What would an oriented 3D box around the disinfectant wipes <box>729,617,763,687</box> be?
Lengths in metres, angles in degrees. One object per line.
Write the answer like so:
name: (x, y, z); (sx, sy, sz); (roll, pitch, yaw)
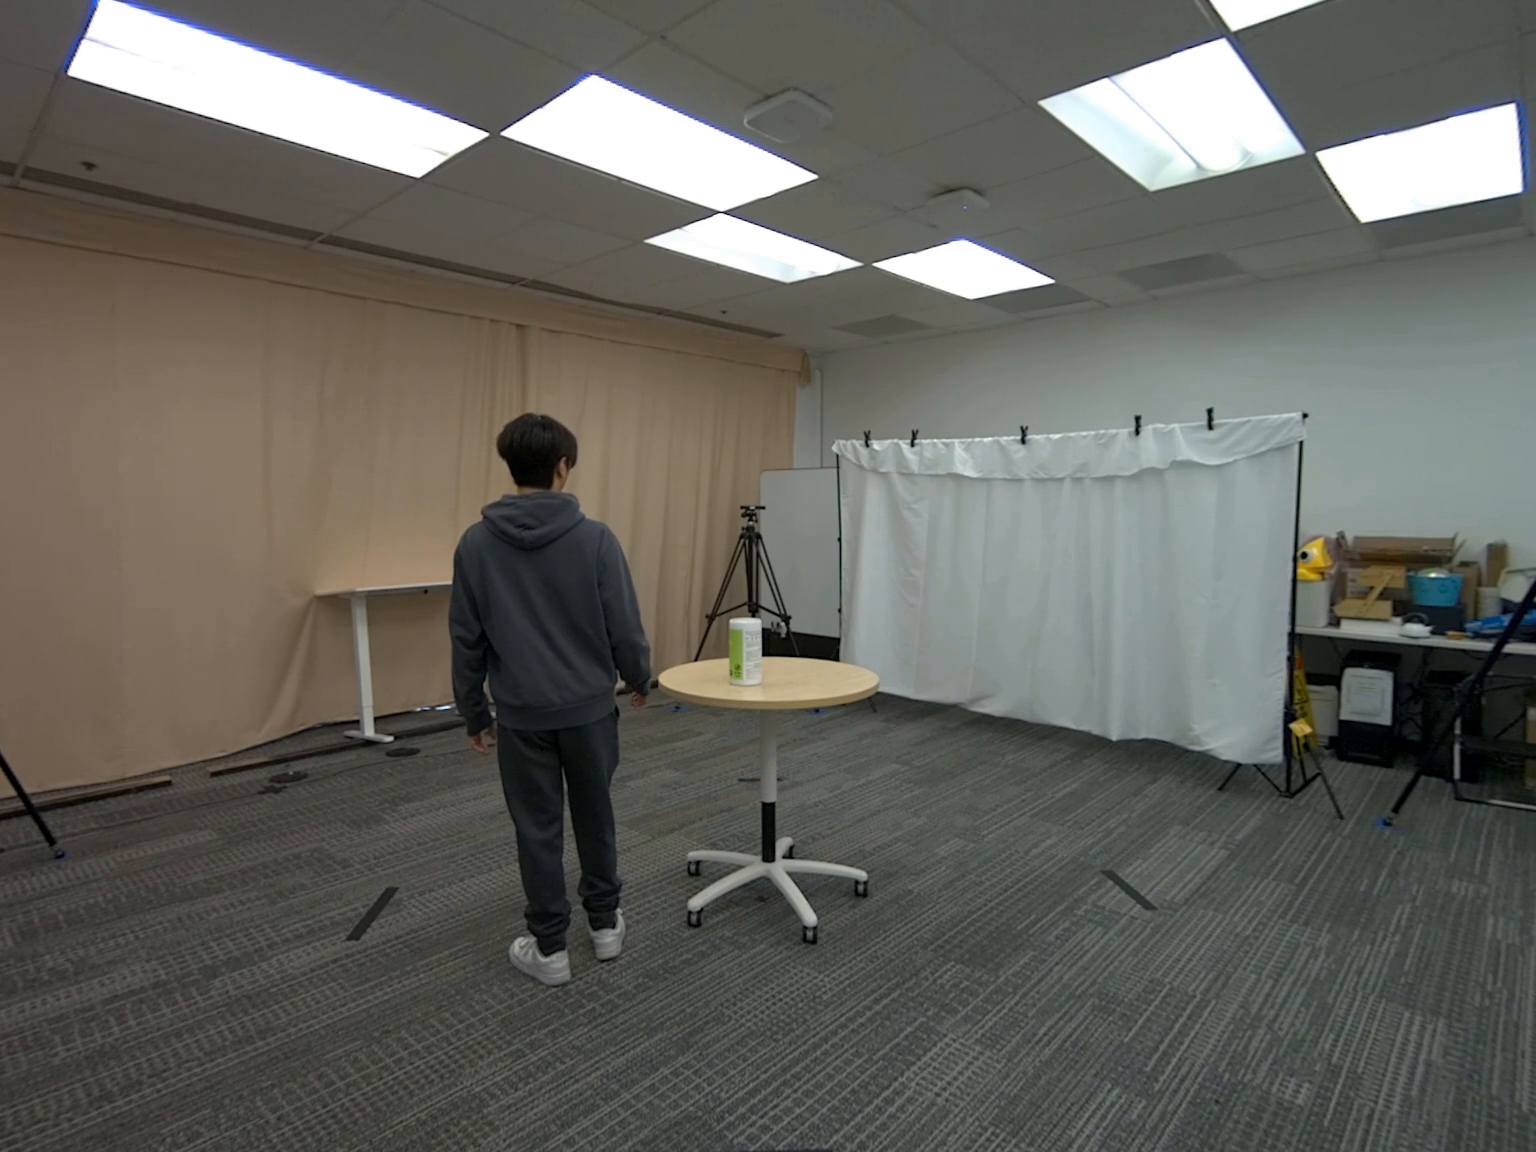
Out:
disinfectant wipes: (-0.068, 0.256, 2.826); (0.118, 0.217, 0.118); (-1, 4, -2)
